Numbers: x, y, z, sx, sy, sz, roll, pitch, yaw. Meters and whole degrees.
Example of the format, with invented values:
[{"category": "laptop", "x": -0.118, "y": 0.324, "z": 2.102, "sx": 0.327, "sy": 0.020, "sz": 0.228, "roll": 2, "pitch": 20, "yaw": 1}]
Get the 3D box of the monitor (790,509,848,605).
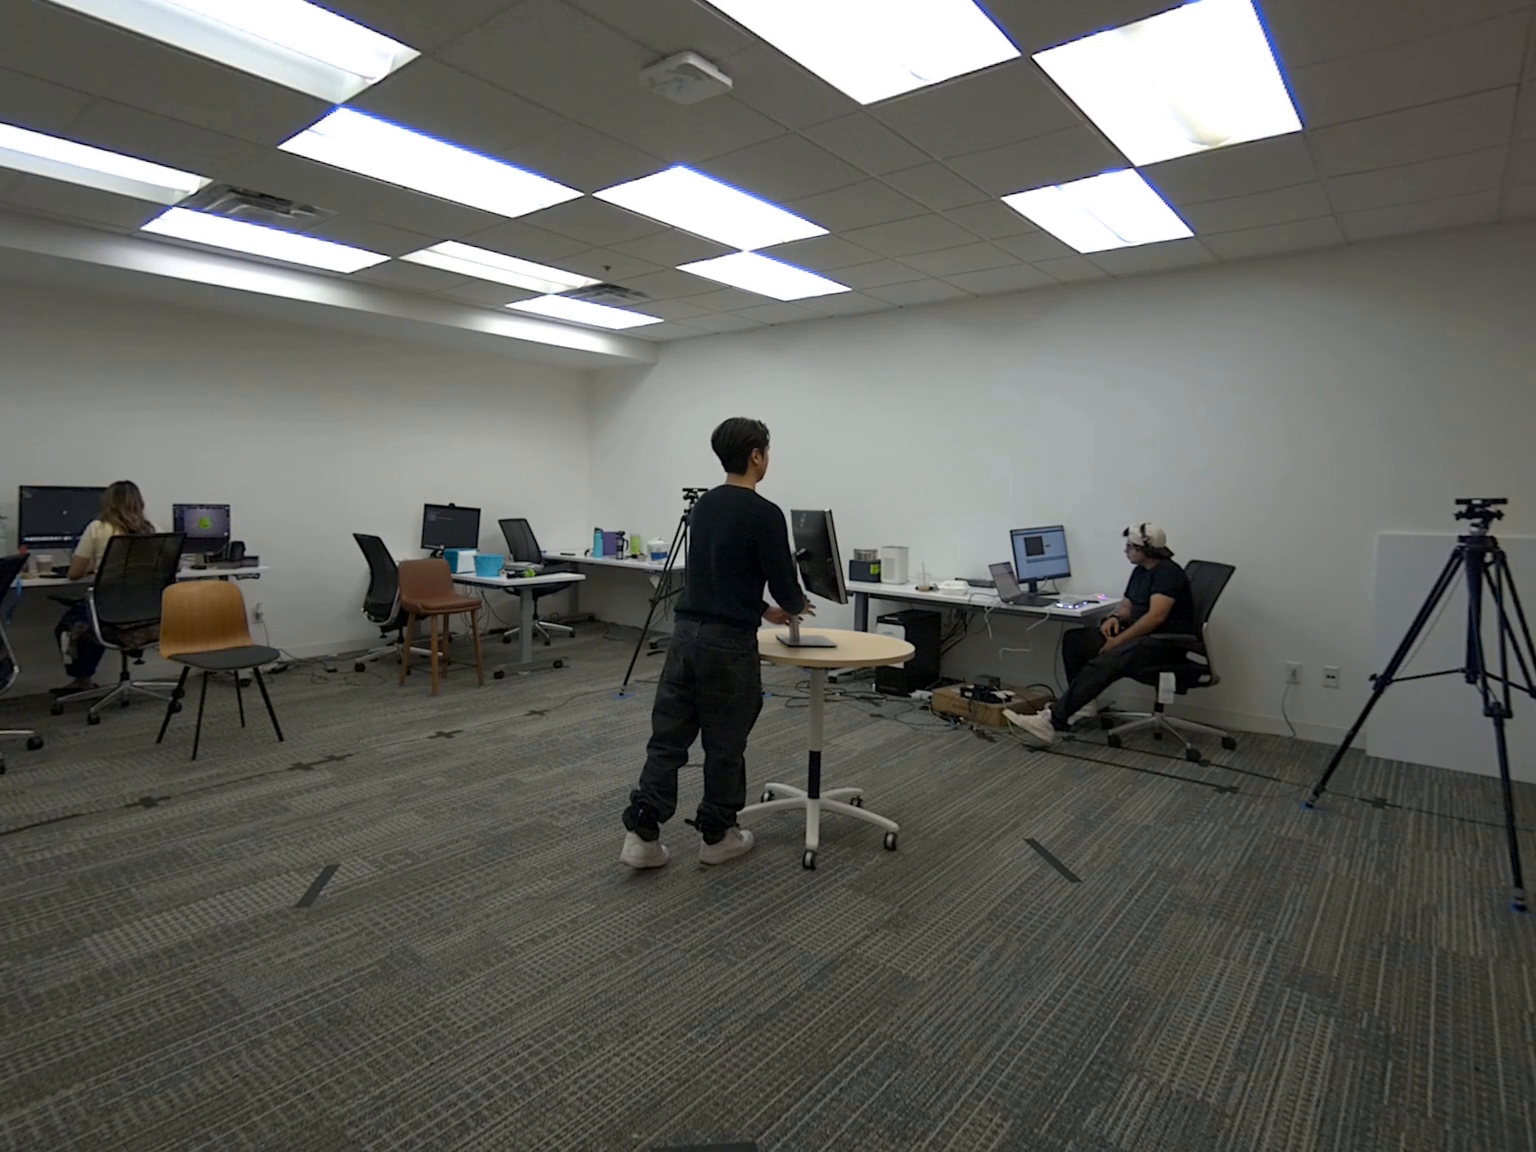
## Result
[{"category": "monitor", "x": 0.157, "y": 0.000, "z": 3.432, "sx": 0.172, "sy": 0.515, "sz": 0.538, "roll": 5, "pitch": 2, "yaw": -13}]
